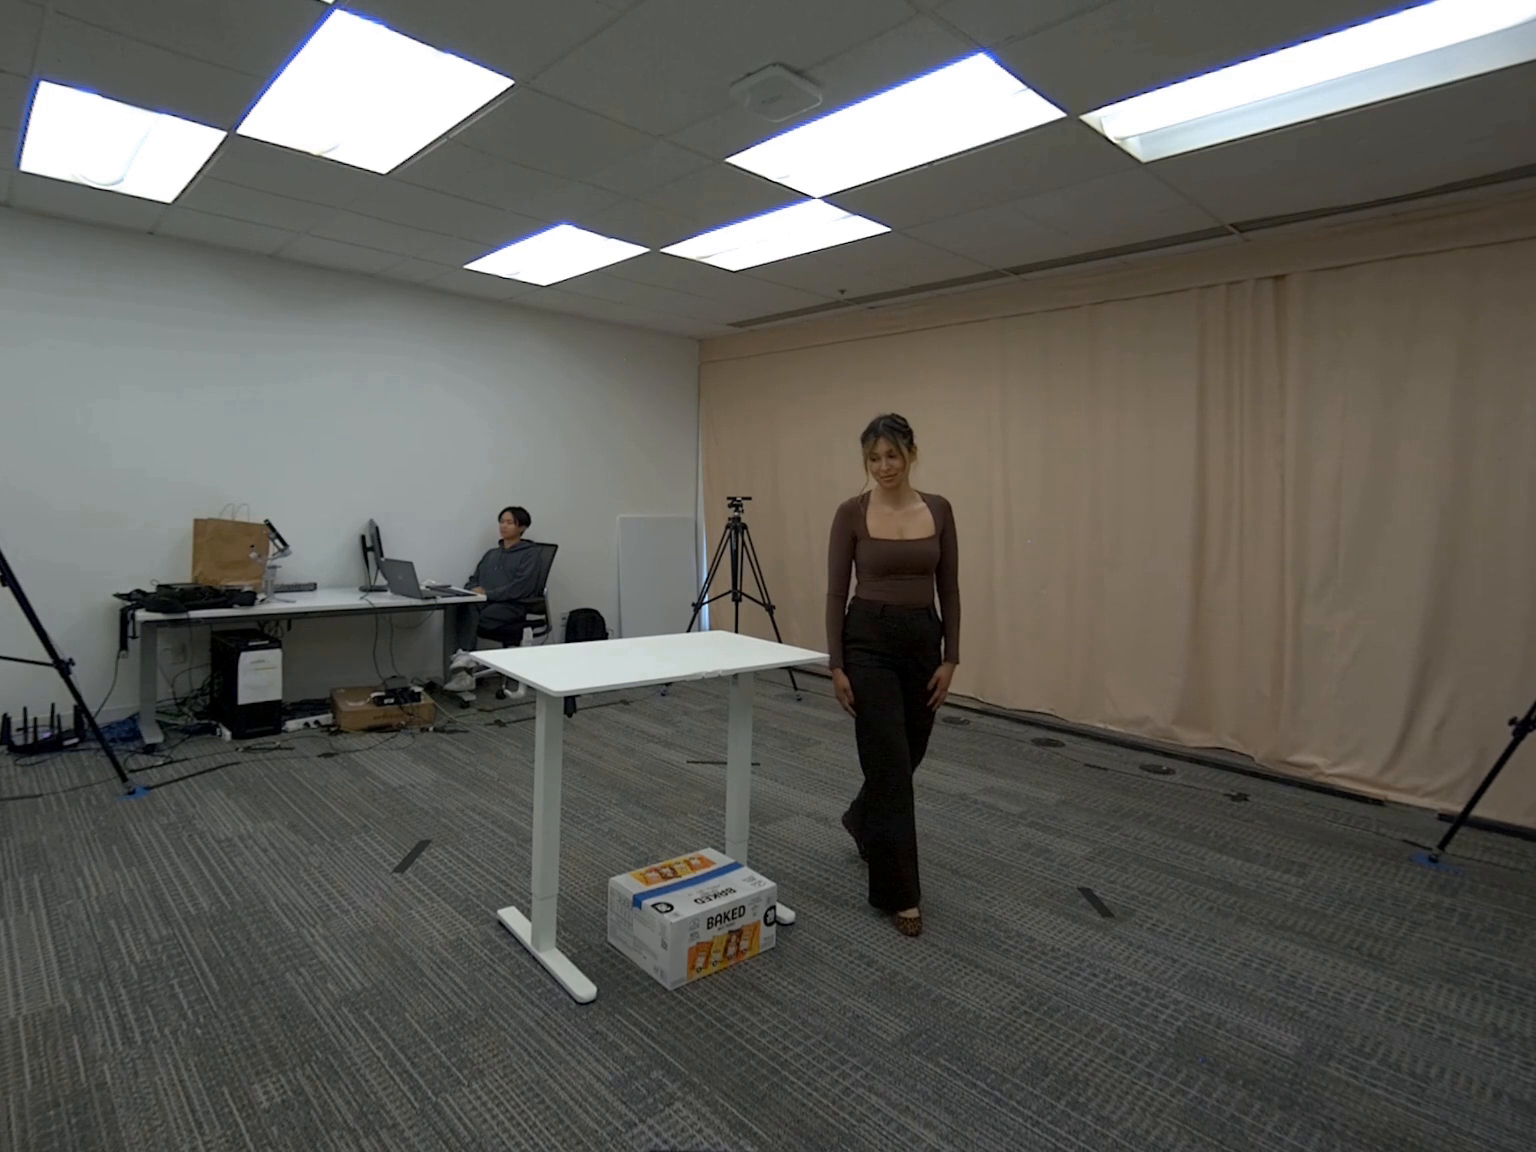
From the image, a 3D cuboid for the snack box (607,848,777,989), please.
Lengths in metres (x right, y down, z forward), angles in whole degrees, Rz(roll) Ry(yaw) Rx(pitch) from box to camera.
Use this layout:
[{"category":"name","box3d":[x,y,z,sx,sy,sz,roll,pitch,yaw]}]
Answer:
[{"category":"snack box","box3d":[-0.239,1.049,2.605,0.396,0.205,0.349,-3,6,-41]}]
